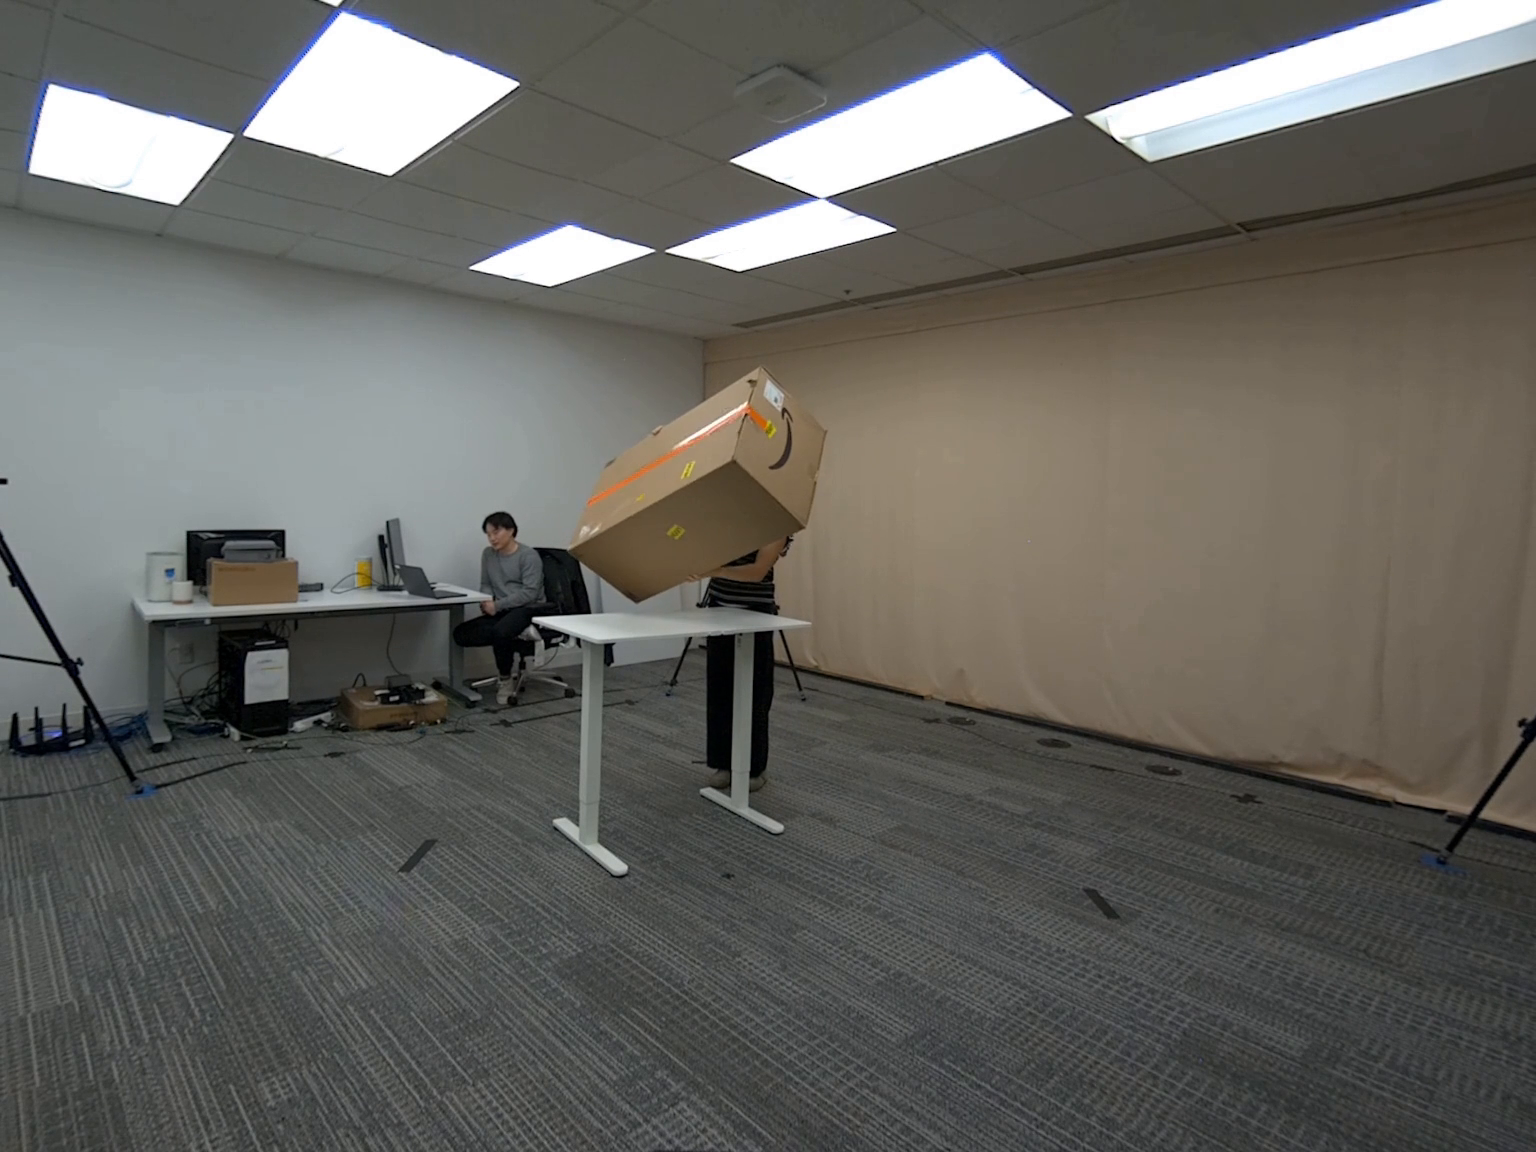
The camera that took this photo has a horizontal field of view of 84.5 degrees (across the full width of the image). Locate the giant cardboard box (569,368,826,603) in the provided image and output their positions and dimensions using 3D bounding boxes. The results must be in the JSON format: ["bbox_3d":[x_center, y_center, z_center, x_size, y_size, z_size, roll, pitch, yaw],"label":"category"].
[{"bbox_3d":[-0.326,-0.362,3.618,1.038,0.586,0.415,-23,-51,38],"label":"giant cardboard box"}]
